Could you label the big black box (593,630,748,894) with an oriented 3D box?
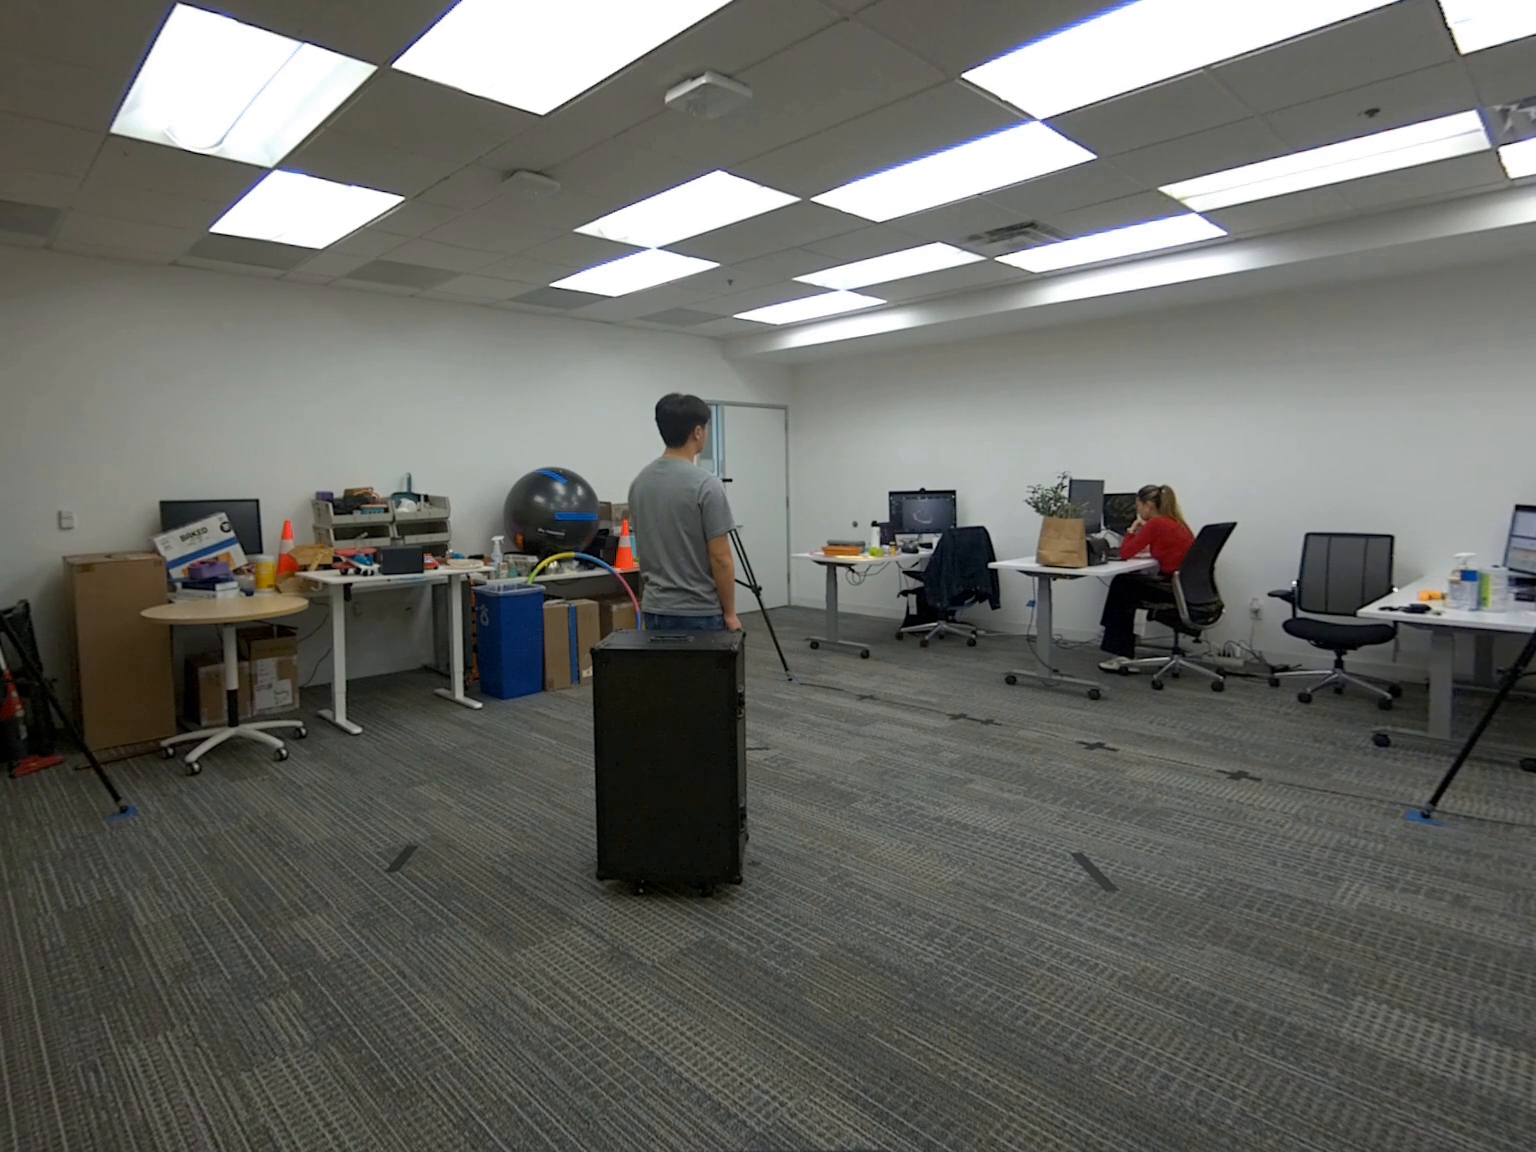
[{"bbox_3d":[-0.332,0.639,2.984,0.524,0.859,0.395,-1,3,5],"label":"big black box"}]
